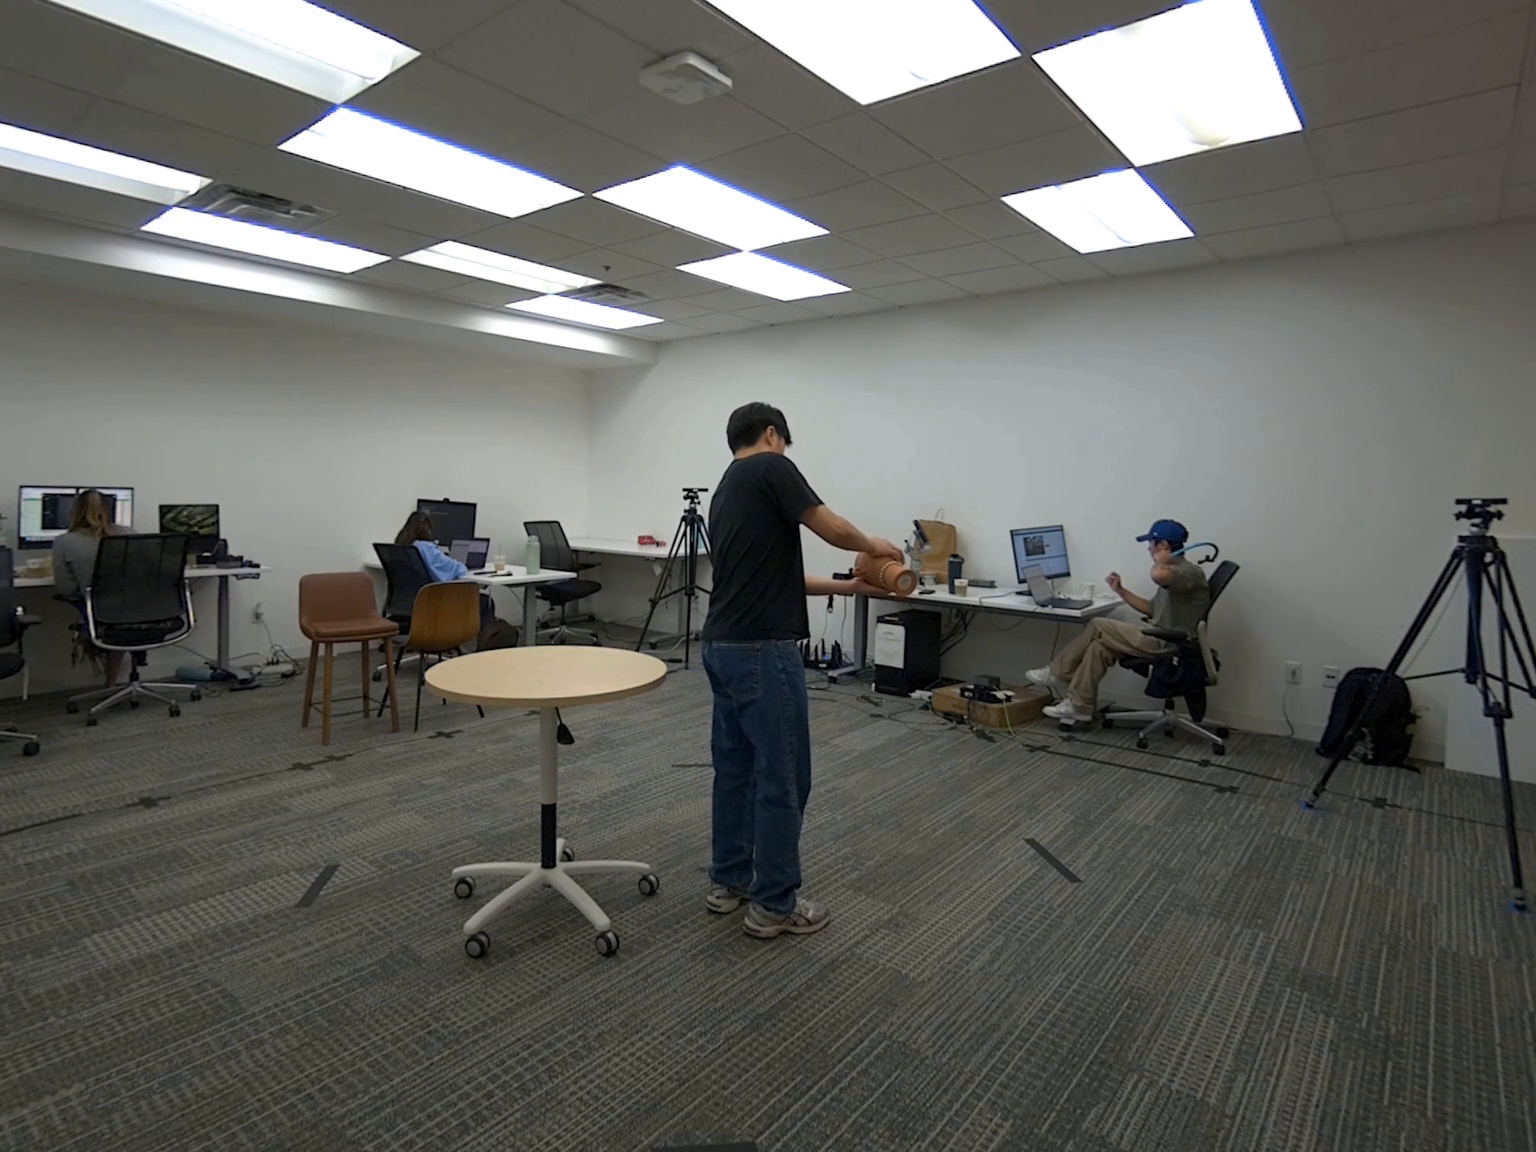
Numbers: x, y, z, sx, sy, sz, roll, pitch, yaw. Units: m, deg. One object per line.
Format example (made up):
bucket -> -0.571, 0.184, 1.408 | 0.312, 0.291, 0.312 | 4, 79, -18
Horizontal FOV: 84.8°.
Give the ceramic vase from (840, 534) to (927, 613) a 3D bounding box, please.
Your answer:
ceramic vase -> 0.395, -0.013, 2.906 | 0.130, 0.159, 0.227 | 44, -2, -29
